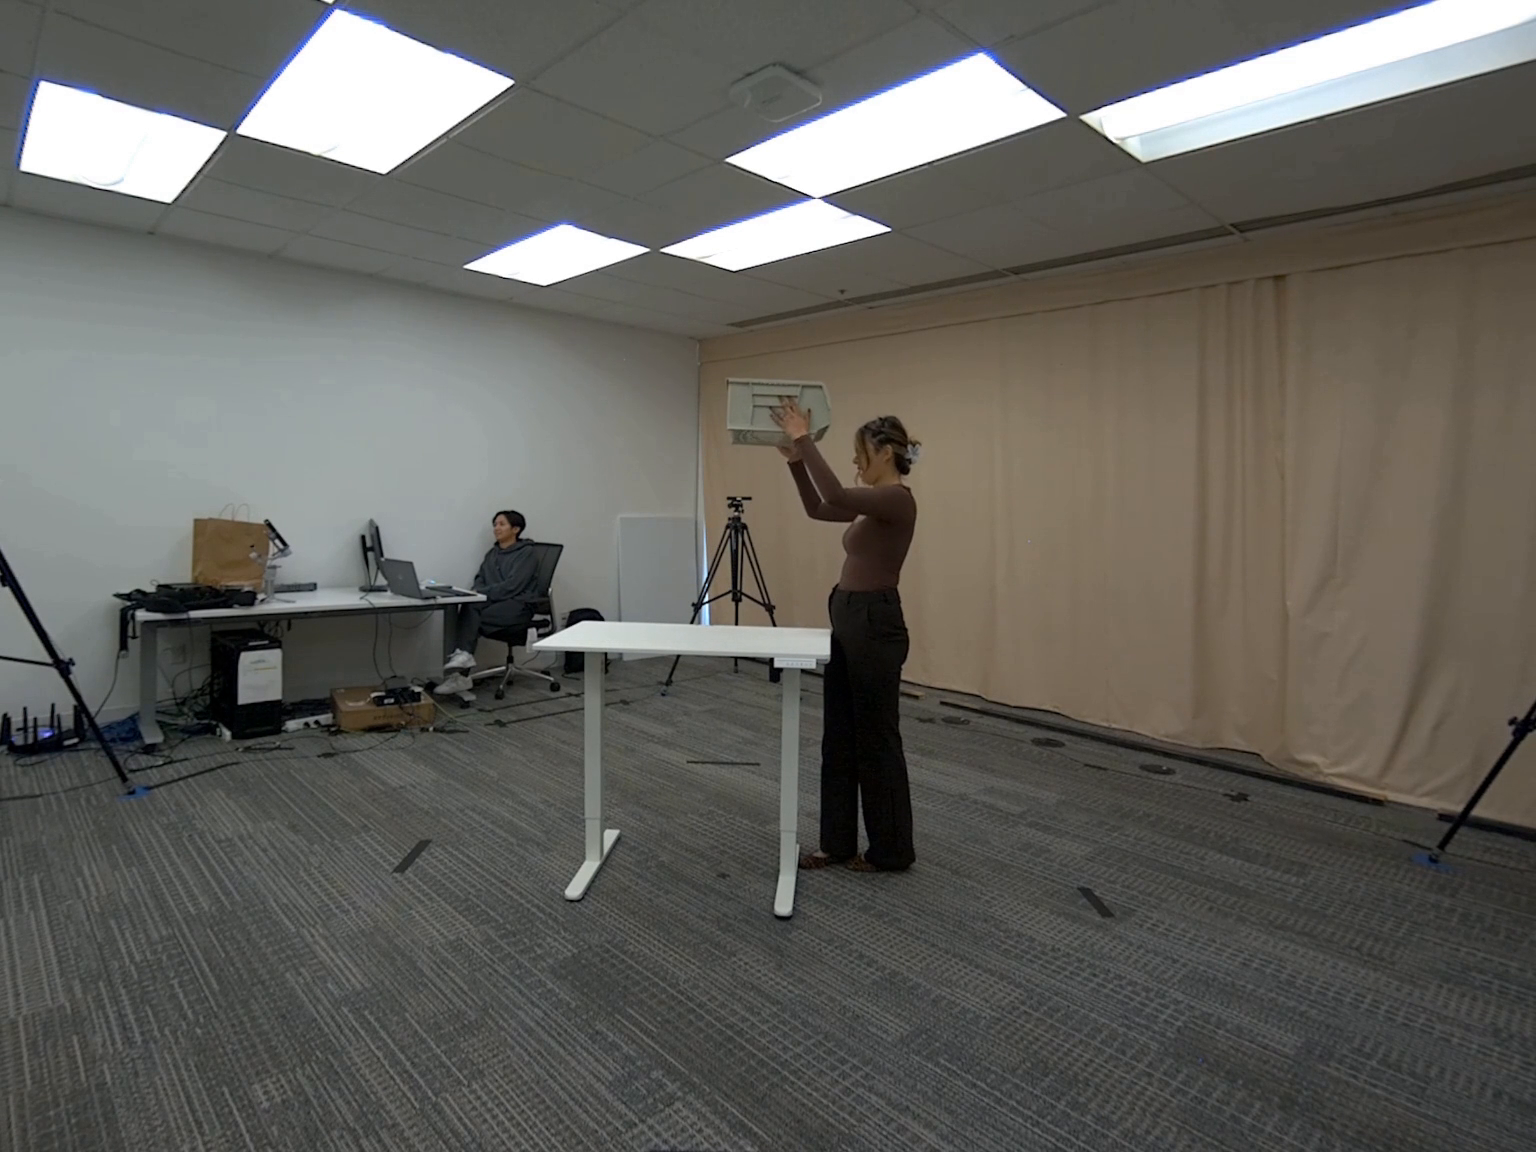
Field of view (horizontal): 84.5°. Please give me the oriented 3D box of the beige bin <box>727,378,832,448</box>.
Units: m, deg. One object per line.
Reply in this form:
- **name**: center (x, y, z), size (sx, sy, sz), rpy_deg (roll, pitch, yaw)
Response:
- **beige bin**: center (0.039, -0.614, 3.156), size (0.377, 0.189, 0.422), rpy_deg (-1, 0, 0)
